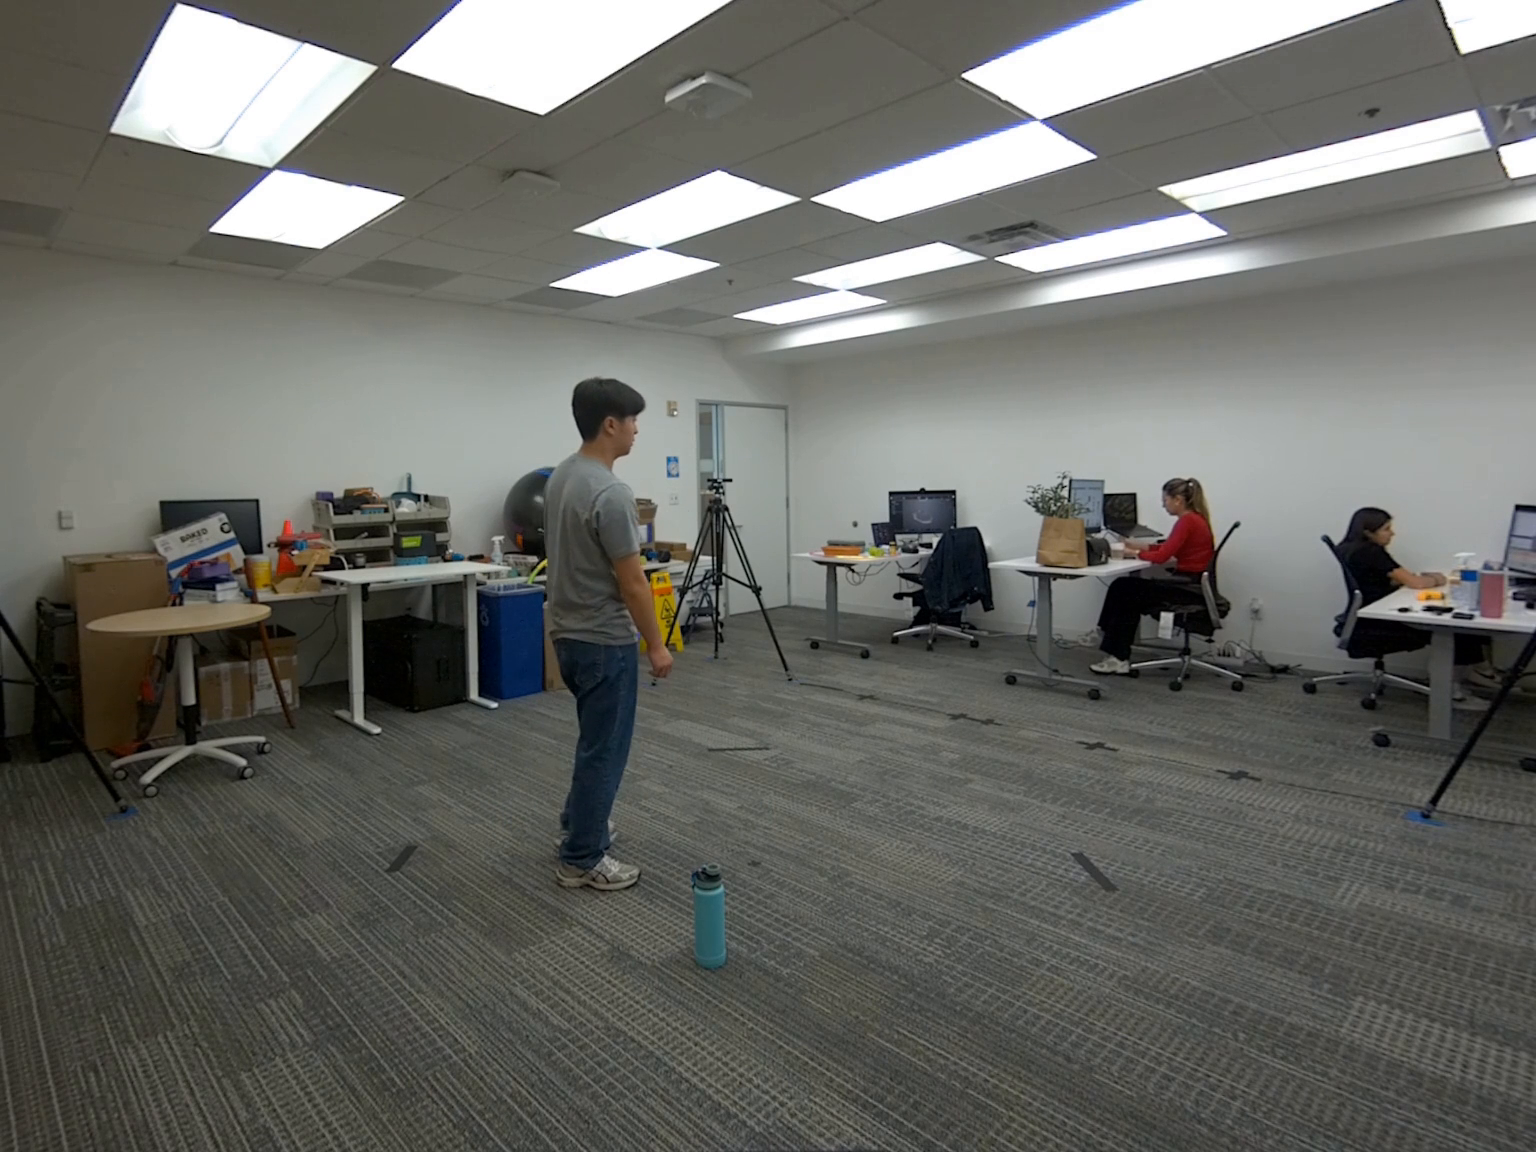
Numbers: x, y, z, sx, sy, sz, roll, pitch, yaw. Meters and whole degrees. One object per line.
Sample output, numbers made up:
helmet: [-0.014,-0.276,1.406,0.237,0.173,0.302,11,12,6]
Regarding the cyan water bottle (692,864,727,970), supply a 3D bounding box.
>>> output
cyan water bottle: [-0.165,0.984,2.478,0.092,0.283,0.092,-3,3,-1]
